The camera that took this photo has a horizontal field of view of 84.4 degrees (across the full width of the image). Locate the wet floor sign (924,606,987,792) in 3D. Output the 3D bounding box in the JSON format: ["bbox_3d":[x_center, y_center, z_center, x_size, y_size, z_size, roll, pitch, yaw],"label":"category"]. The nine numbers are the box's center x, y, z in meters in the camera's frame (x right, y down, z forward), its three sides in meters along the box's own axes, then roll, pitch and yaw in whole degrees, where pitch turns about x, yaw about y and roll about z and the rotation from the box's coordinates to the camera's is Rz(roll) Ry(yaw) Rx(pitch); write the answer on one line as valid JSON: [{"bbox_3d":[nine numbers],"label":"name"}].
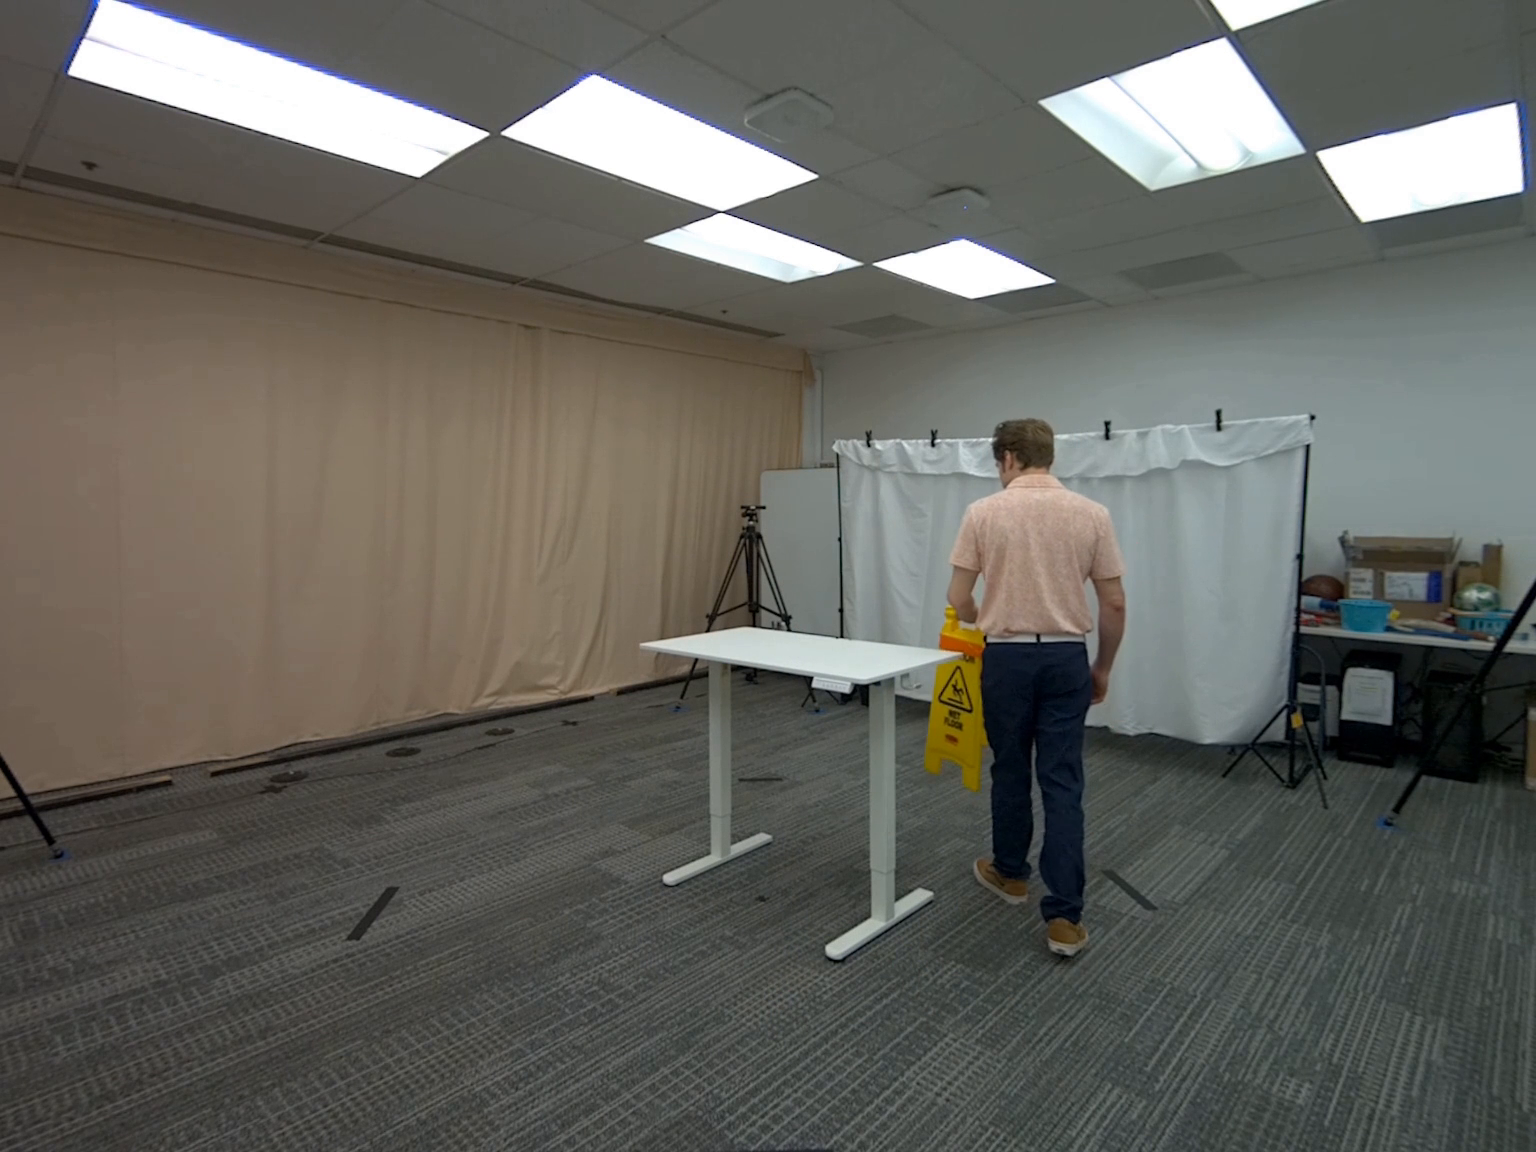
[{"bbox_3d":[0.782,0.443,3.224,0.283,0.642,0.291,-10,10,-30],"label":"wet floor sign"}]
